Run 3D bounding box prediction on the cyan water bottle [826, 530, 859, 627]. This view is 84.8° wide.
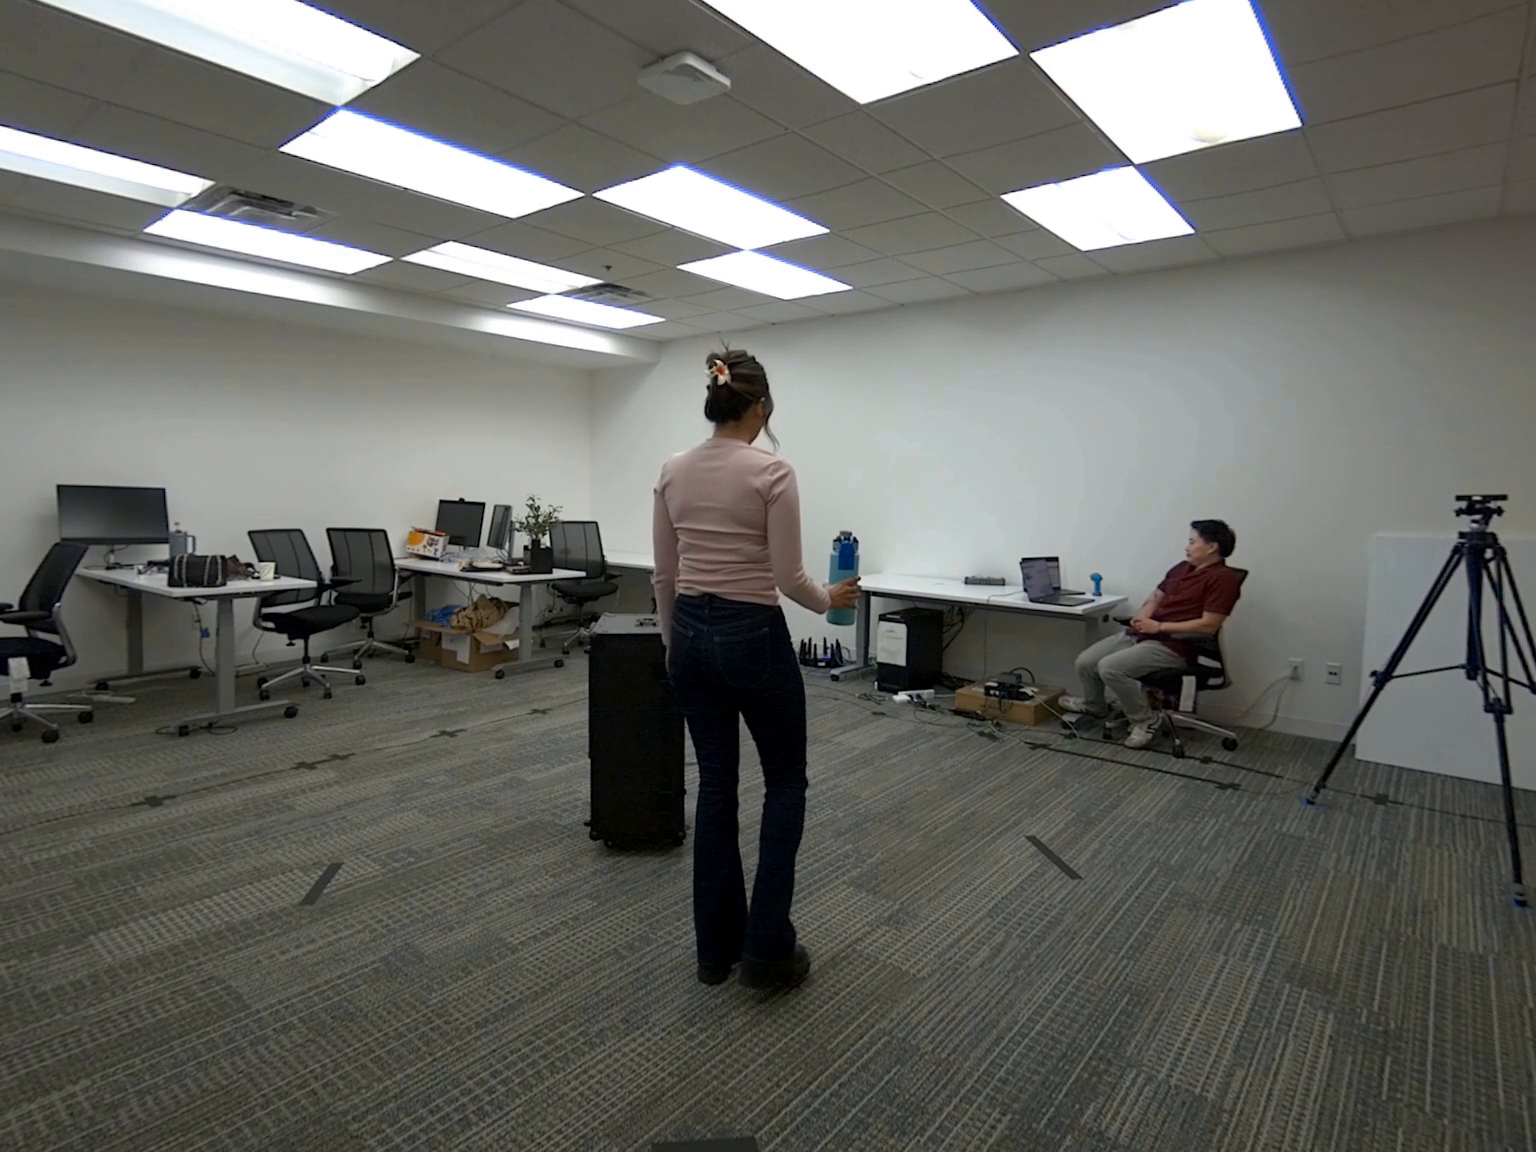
[{"bbox_3d":[0.229,0.002,2.598,0.092,0.281,0.093,4,10,-3],"label":"cyan water bottle"}]
